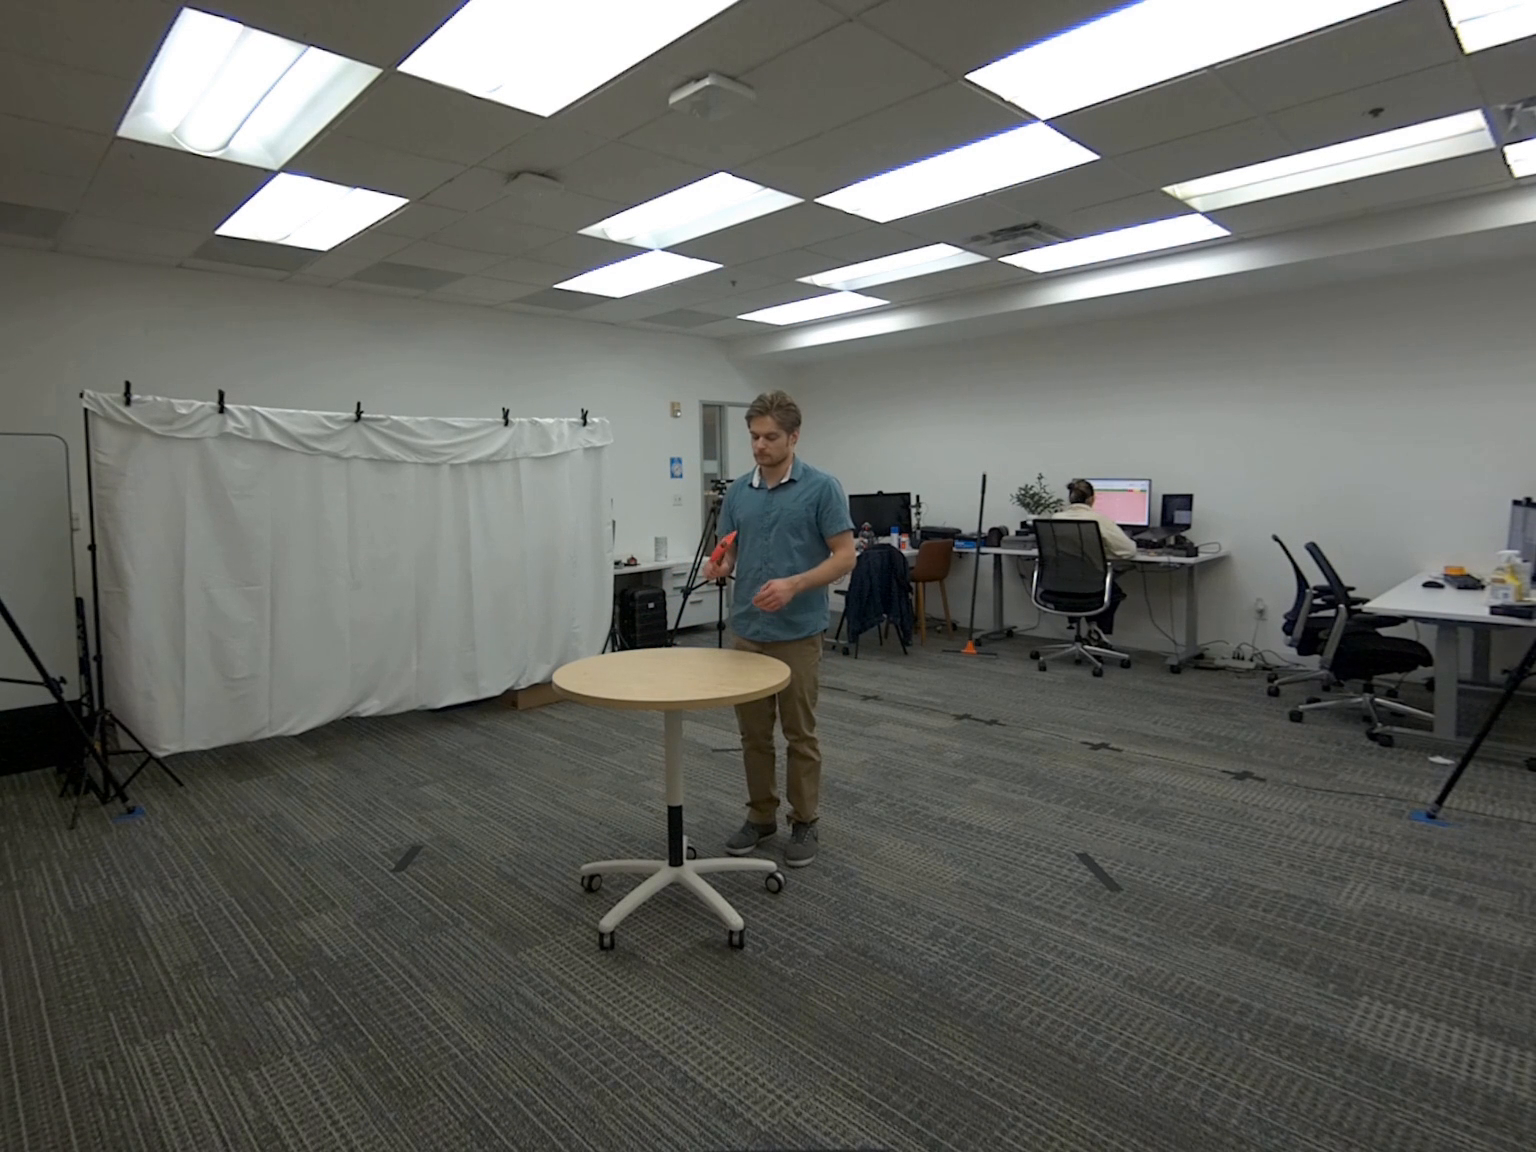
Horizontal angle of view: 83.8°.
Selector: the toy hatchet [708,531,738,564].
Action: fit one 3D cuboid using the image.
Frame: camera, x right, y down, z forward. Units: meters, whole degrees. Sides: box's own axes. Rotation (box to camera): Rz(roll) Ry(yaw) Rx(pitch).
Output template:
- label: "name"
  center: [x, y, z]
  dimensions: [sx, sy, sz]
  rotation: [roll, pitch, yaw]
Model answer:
- label: "toy hatchet"
  center: [-0.173, -0.041, 2.891]
  dimensions: [0.030, 0.265, 0.131]
  rotation: [35, 56, 11]
